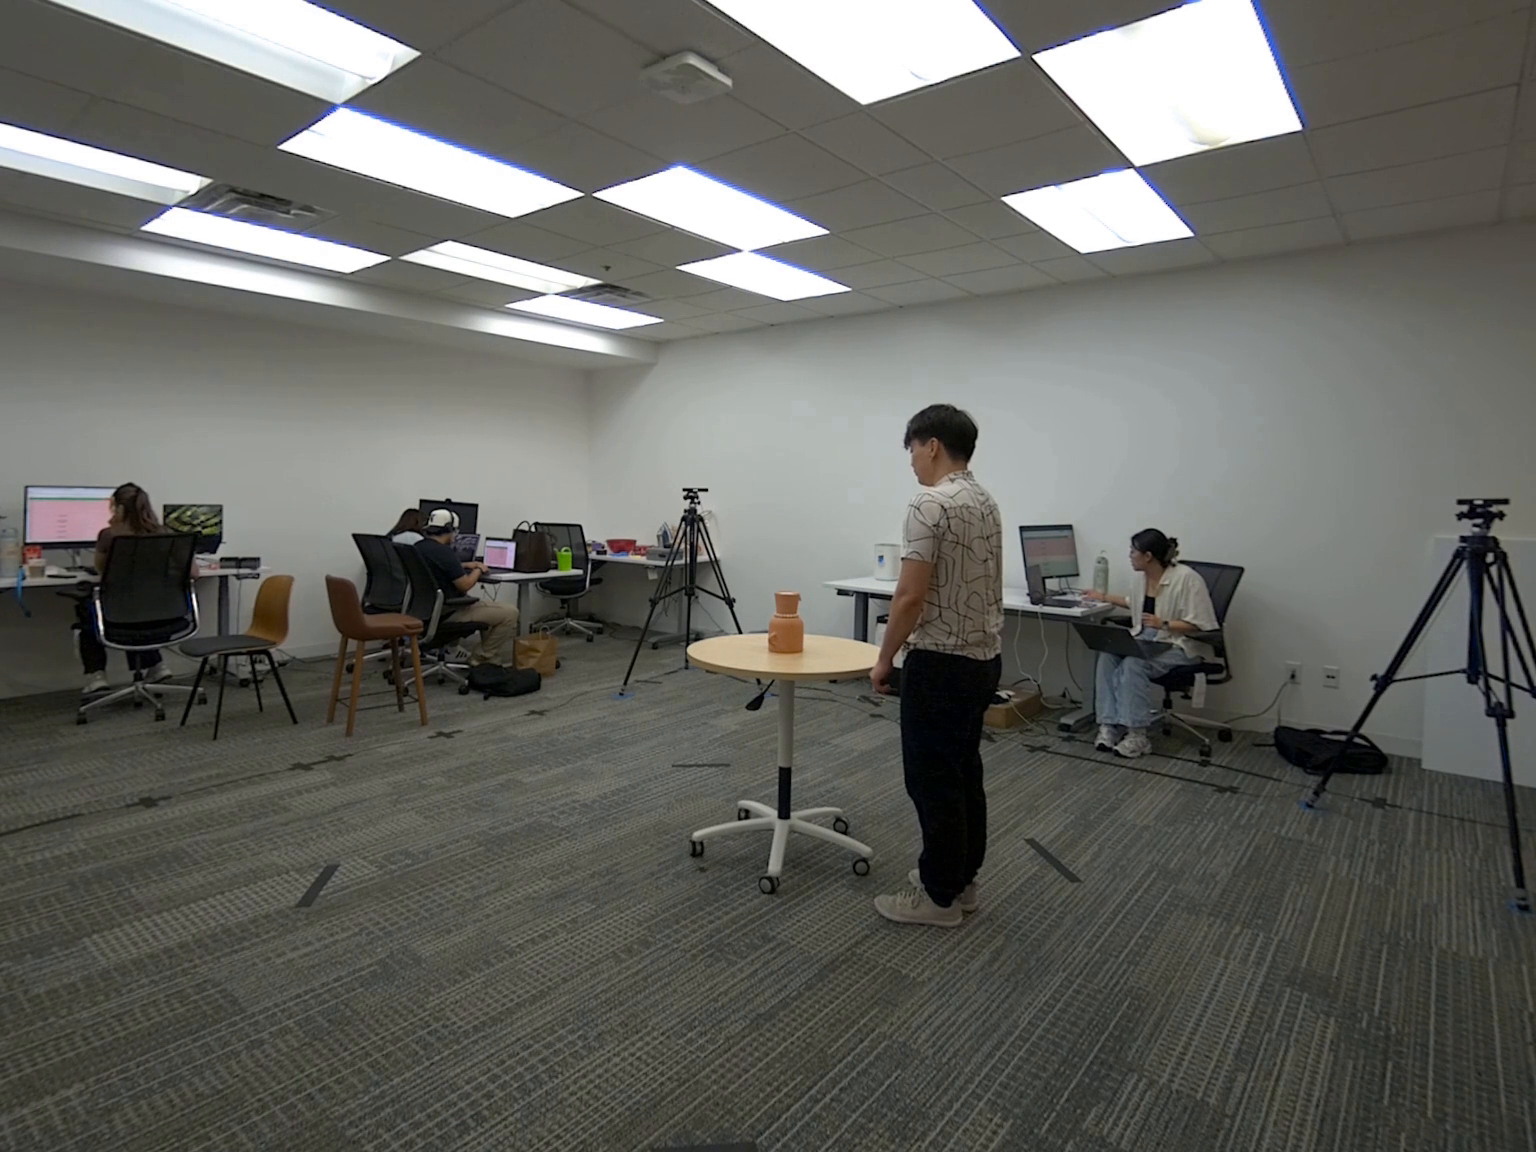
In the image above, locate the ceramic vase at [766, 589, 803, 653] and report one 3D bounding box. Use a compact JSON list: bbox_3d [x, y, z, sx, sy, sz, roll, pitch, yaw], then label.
[{"bbox_3d":[0.061,0.168,3.224,0.135,0.219,0.159,0,4,2],"label":"ceramic vase"}]
